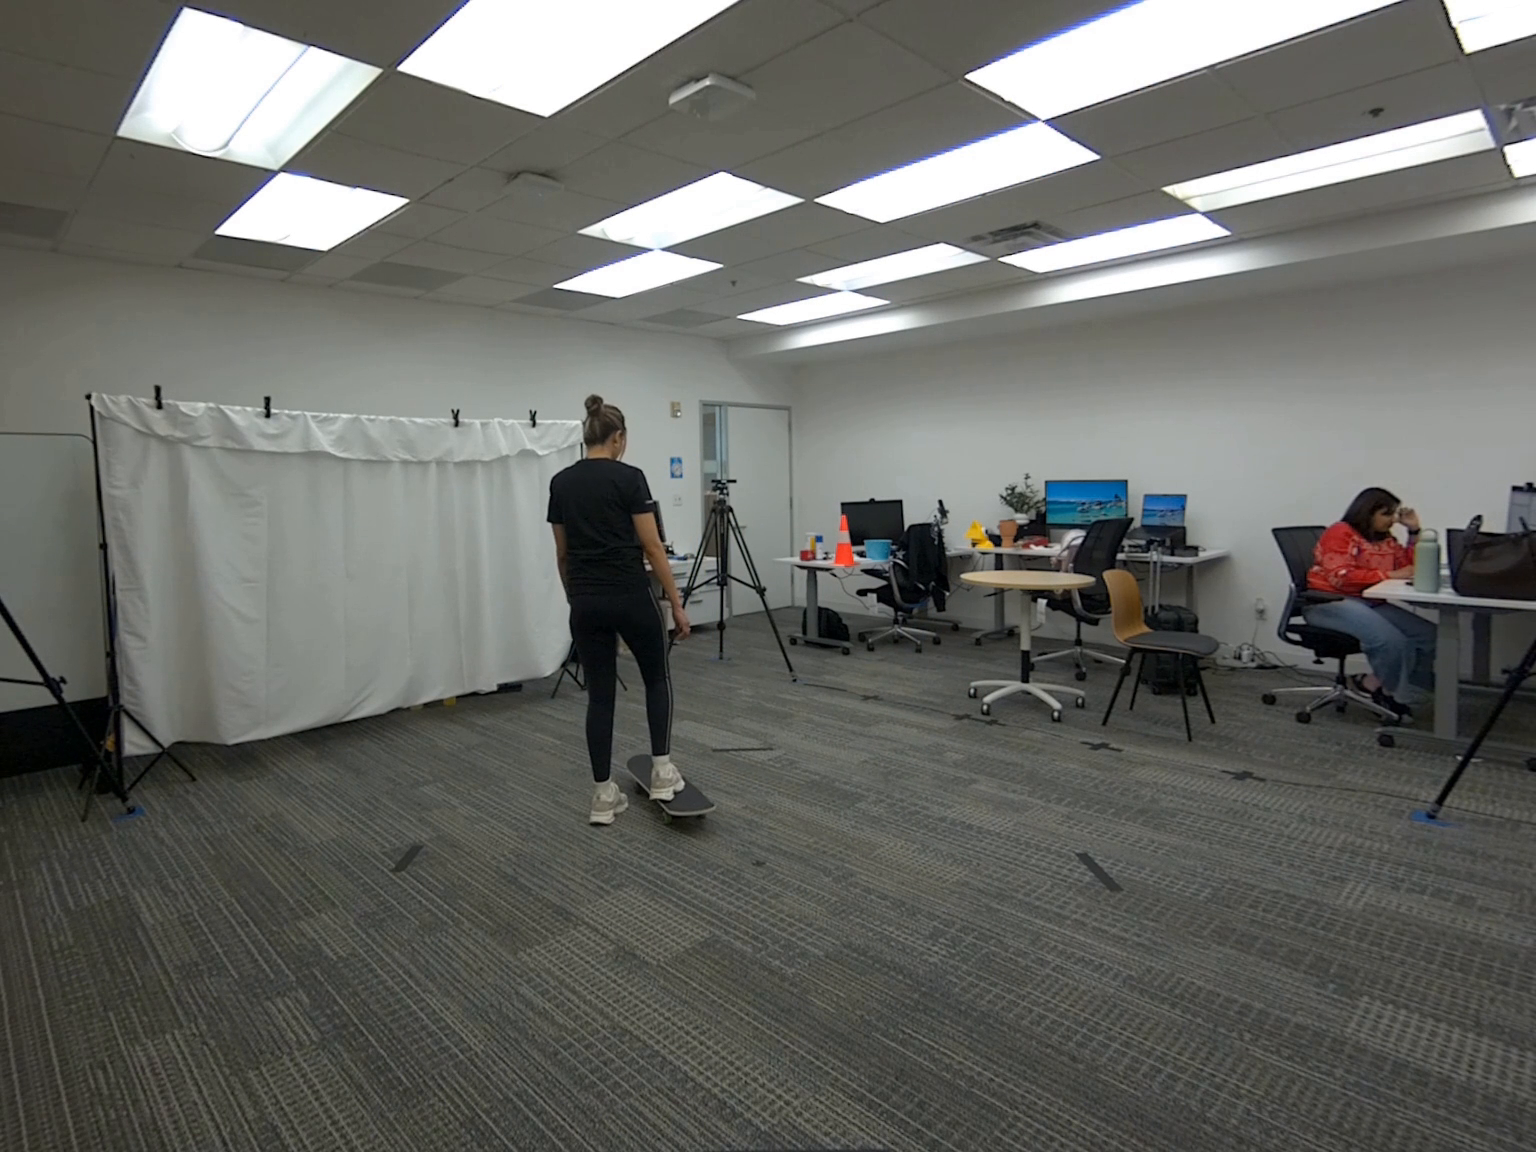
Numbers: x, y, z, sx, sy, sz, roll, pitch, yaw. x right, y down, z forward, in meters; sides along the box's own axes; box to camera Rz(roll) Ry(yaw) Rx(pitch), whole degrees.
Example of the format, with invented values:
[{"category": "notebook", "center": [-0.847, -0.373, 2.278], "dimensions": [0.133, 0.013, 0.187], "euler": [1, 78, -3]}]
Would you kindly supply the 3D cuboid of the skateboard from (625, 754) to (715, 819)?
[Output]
[{"category": "skateboard", "center": [-0.429, 0.937, 3.684], "dimensions": [0.189, 0.110, 0.805], "euler": [-4, 7, -25]}]
